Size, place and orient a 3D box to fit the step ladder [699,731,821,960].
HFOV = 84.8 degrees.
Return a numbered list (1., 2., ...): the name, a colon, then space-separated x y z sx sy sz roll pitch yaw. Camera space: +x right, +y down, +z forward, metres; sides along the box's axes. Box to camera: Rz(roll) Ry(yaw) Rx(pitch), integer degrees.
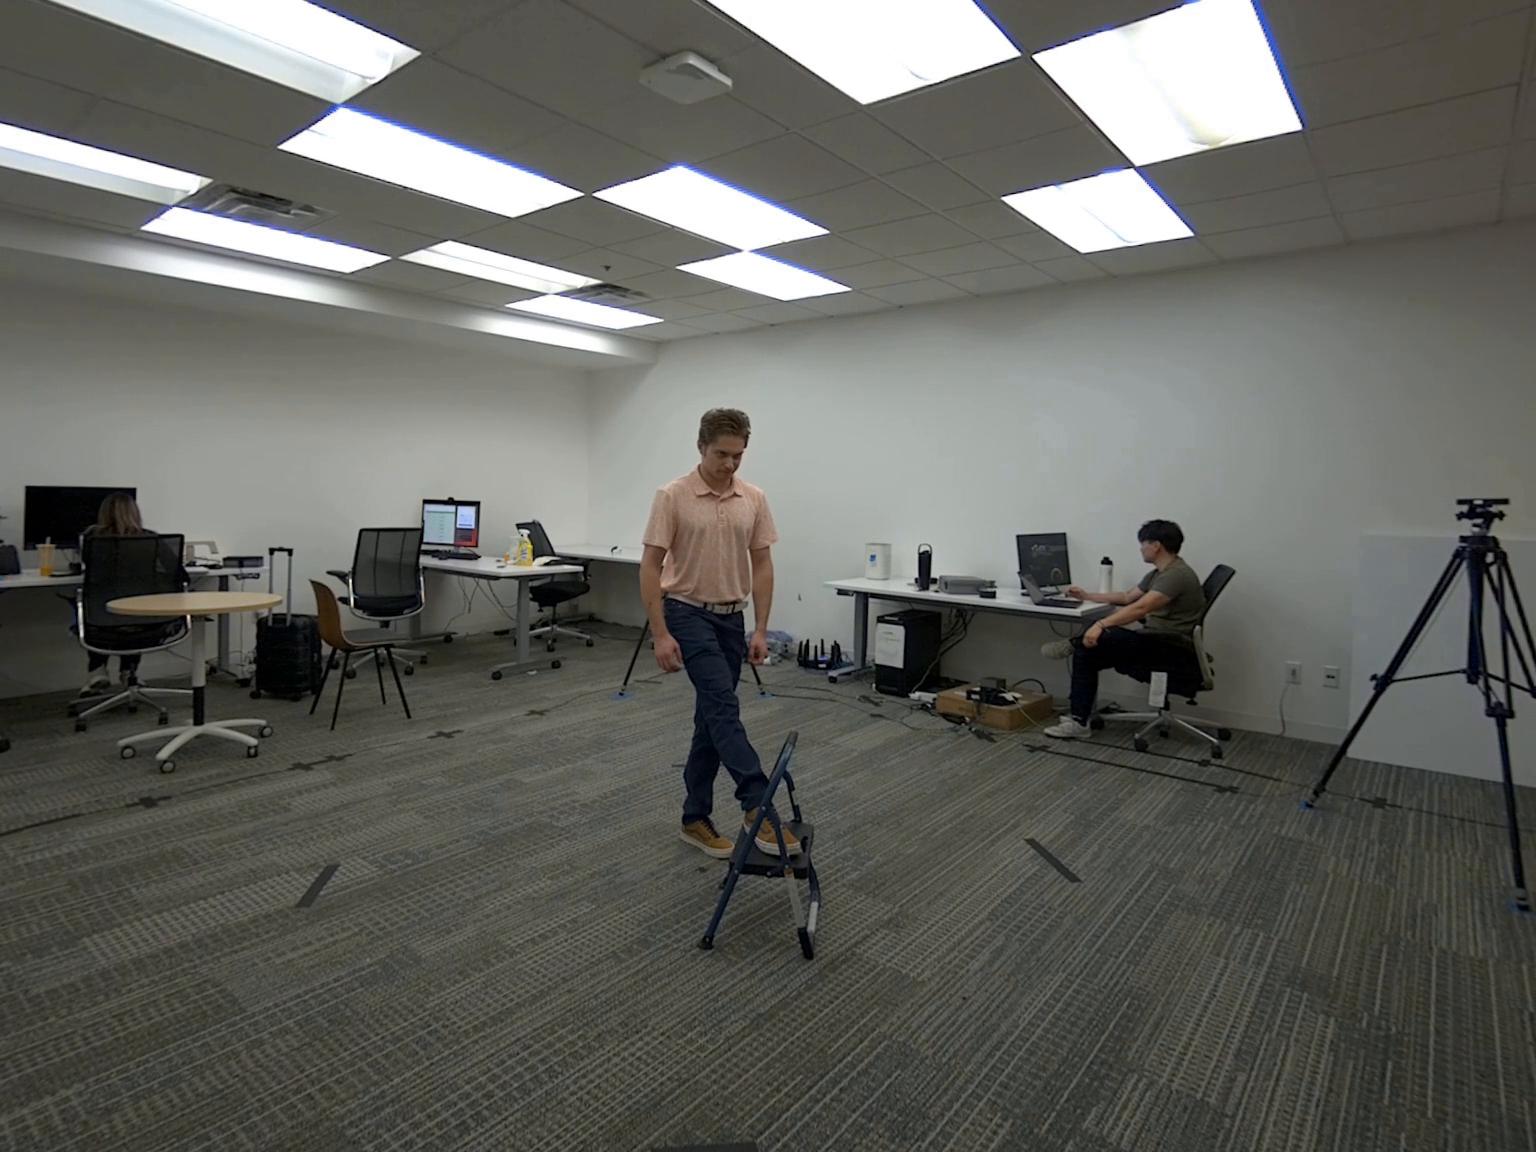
1. step ladder: -0.009 0.811 2.732 0.352 0.604 0.428 2 4 7
